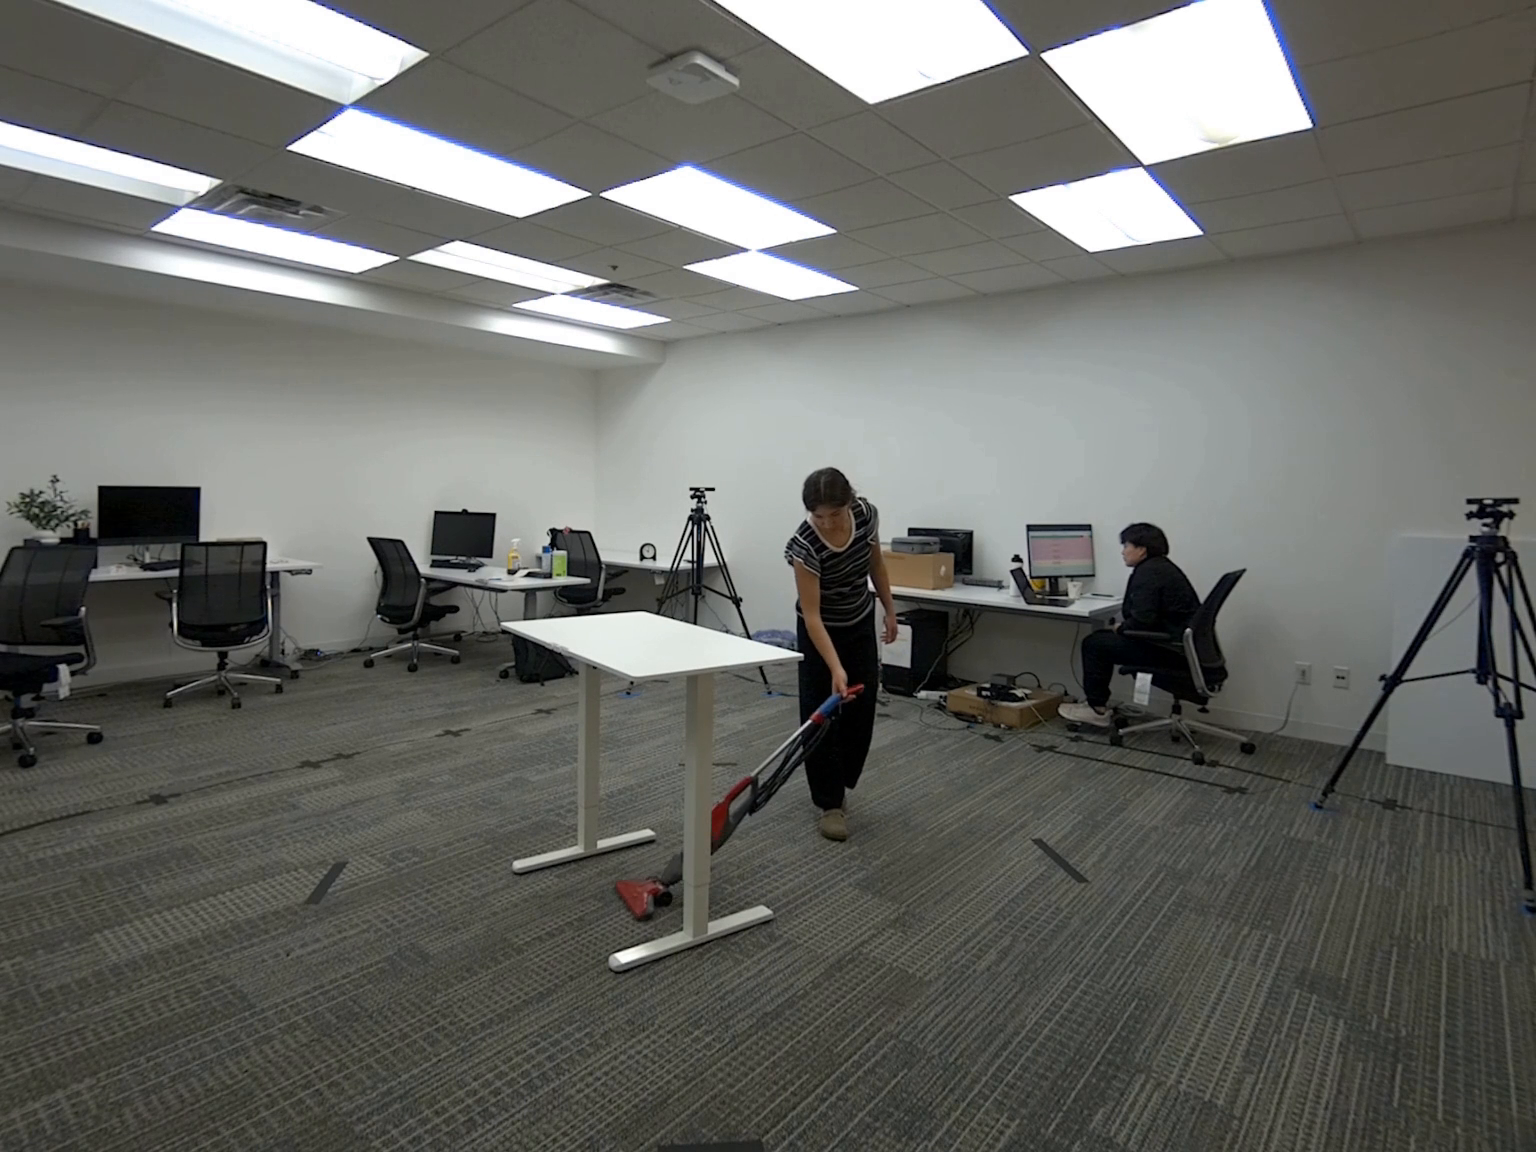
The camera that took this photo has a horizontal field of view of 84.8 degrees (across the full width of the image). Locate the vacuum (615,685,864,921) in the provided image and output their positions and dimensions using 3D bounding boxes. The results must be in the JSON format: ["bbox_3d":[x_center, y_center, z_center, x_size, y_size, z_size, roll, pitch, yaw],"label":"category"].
[{"bbox_3d":[-0.042,0.746,3.007,1.046,0.139,0.262,-41,33,-18],"label":"vacuum"}]
